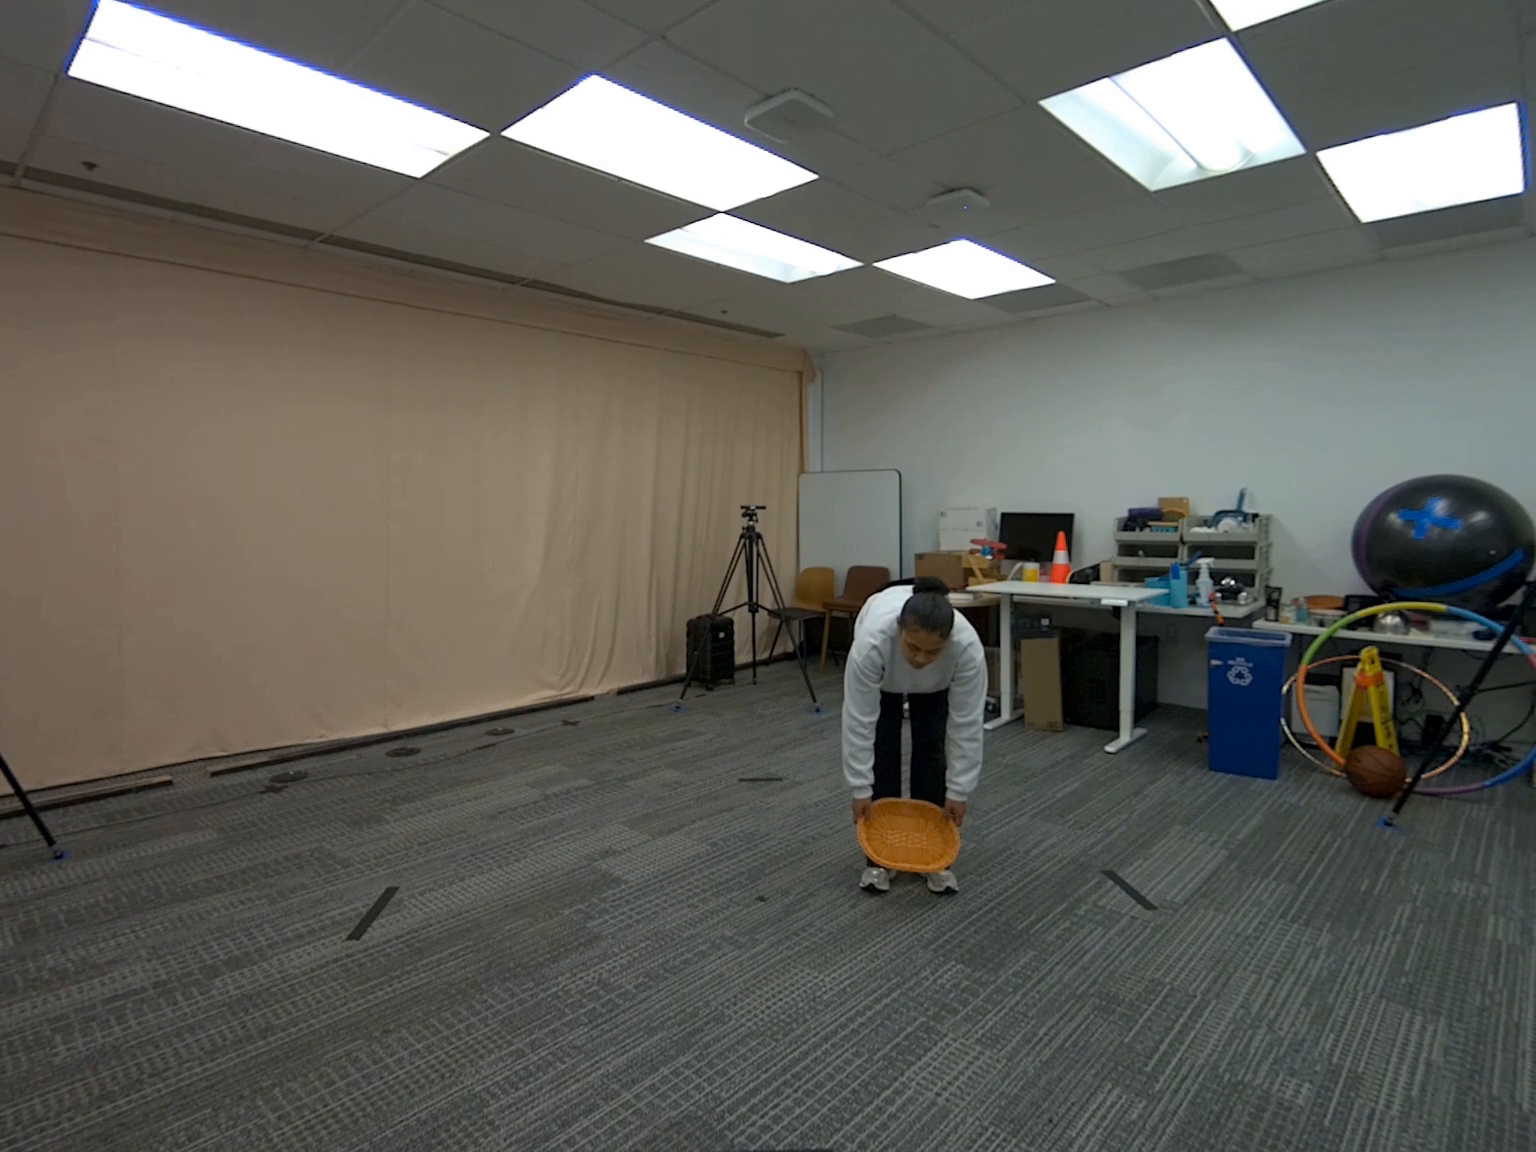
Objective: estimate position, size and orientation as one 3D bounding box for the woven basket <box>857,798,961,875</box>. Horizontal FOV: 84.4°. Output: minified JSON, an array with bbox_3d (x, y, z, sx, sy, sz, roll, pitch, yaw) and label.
[{"bbox_3d":[0.493,0.902,2.919,0.353,0.255,0.072,4,-40,7],"label":"woven basket"}]
